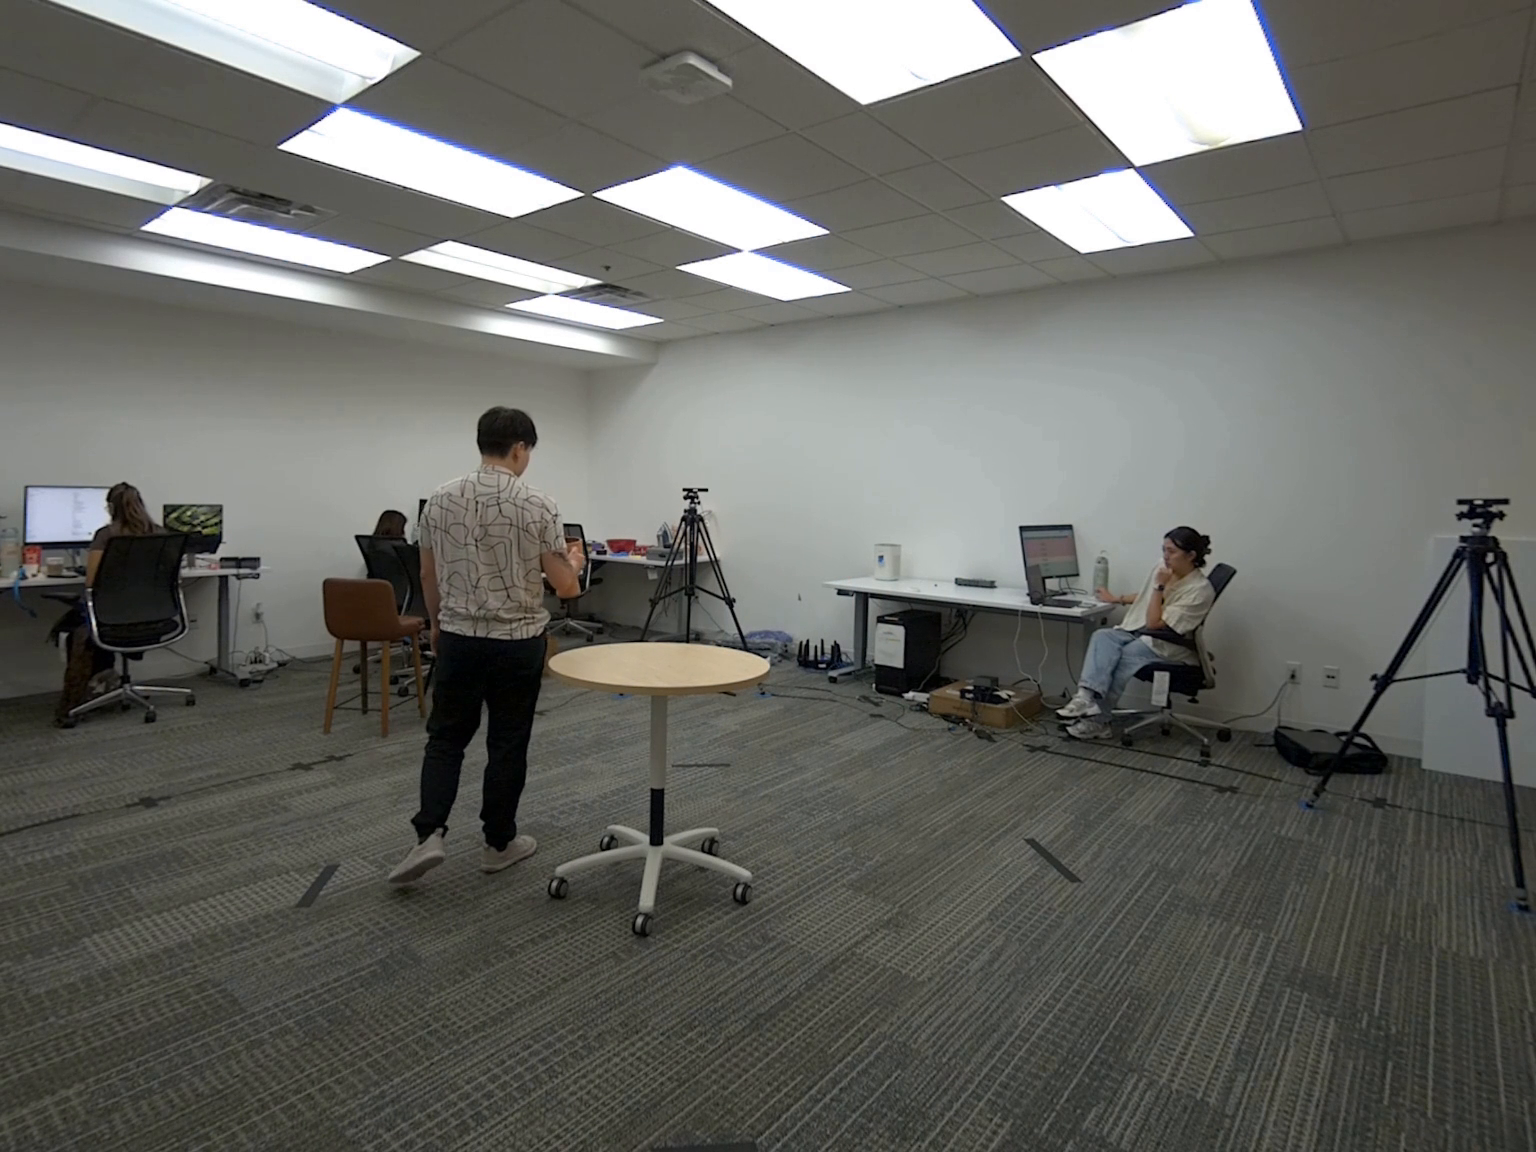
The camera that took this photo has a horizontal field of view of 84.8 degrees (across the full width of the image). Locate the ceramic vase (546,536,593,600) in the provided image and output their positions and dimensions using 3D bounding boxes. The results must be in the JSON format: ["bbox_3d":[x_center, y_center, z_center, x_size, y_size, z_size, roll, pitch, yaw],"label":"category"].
[{"bbox_3d":[-0.803,-0.037,3.377,0.136,0.217,0.159,1,11,8],"label":"ceramic vase"}]
